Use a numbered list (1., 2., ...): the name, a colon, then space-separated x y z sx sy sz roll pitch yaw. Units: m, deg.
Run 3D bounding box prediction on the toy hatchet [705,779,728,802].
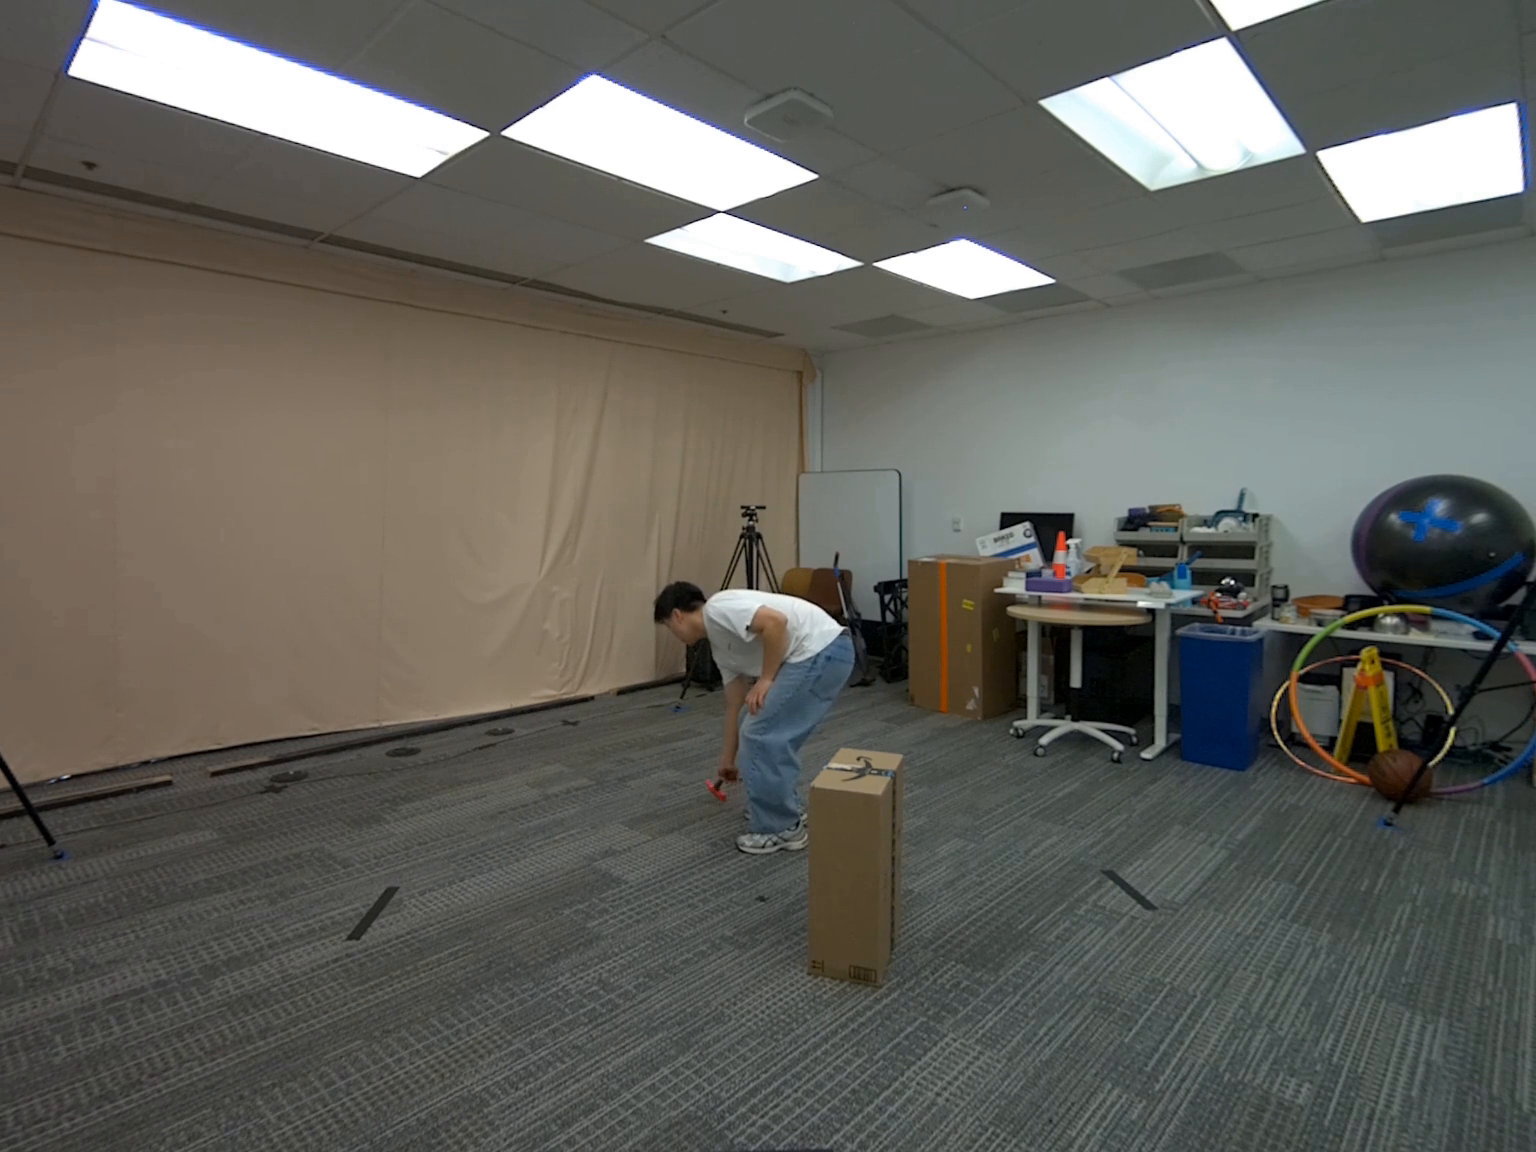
1. toy hatchet: -0.187 0.971 3.881 0.029 0.130 0.274 -42 6 -26
